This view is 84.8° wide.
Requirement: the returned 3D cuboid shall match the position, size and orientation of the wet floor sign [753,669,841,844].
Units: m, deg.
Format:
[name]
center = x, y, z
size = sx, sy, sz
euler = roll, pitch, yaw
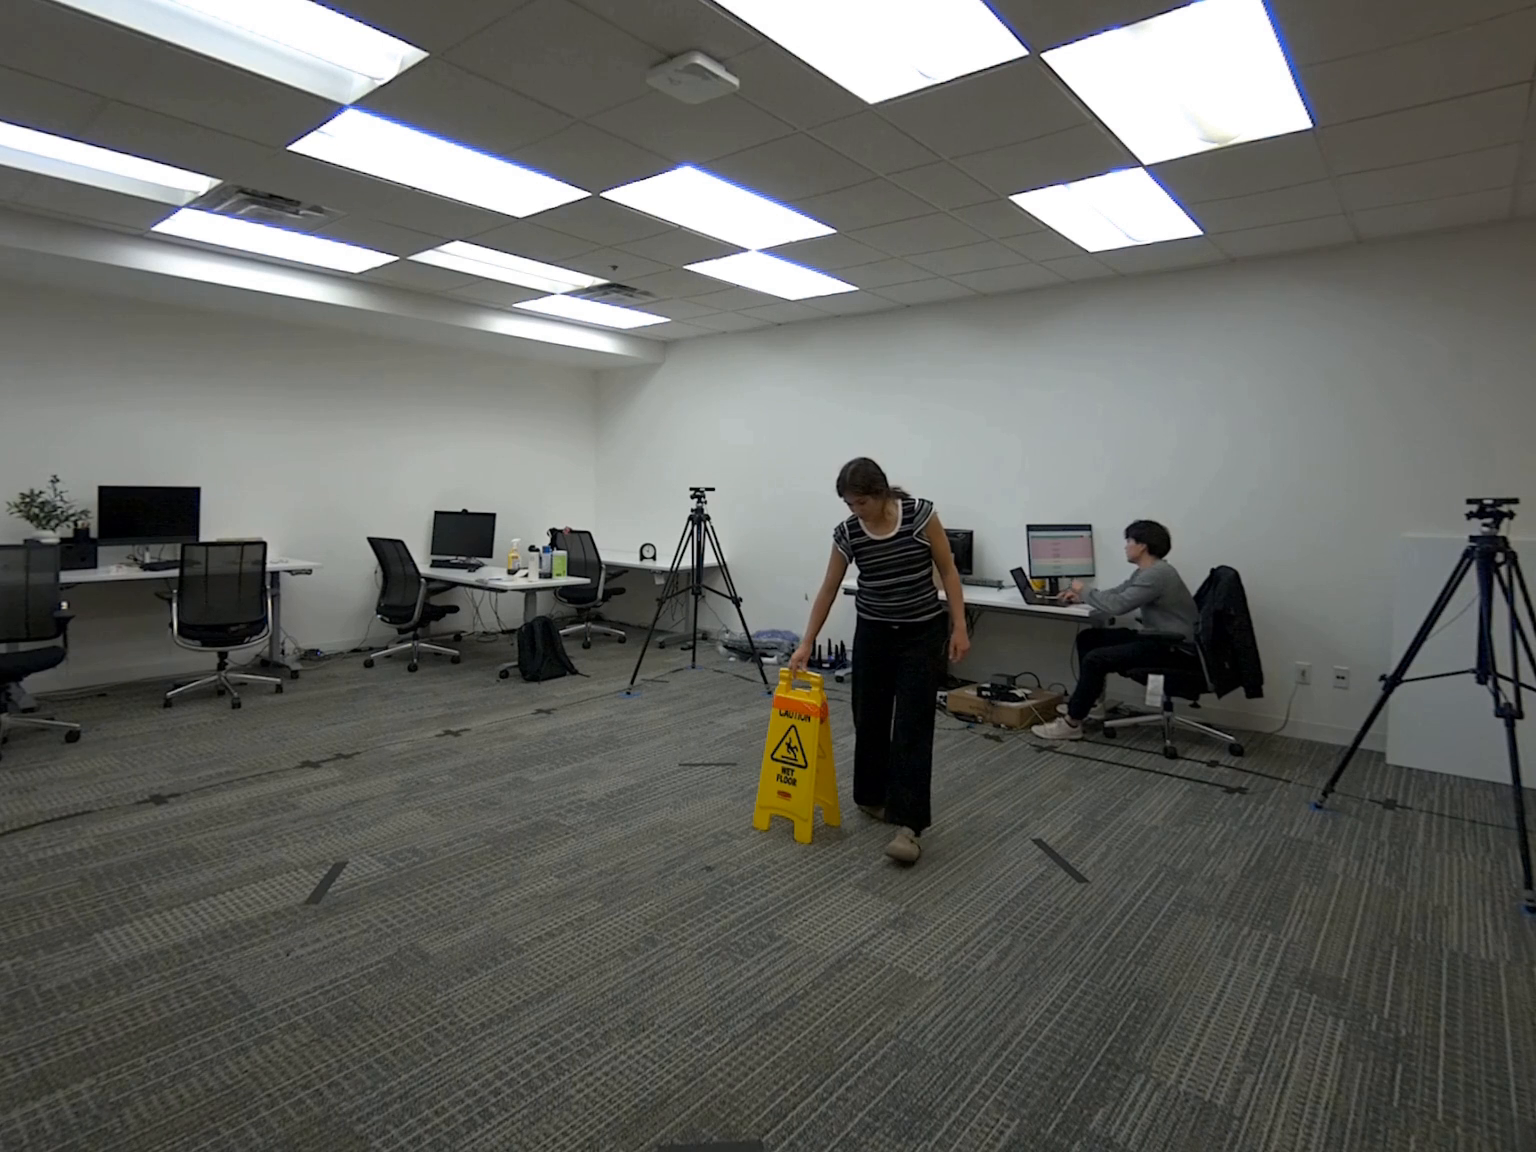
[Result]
[wet floor sign]
center = 0.118, 0.709, 3.519
size = 0.291, 0.644, 0.281
euler = 4, 3, 35
